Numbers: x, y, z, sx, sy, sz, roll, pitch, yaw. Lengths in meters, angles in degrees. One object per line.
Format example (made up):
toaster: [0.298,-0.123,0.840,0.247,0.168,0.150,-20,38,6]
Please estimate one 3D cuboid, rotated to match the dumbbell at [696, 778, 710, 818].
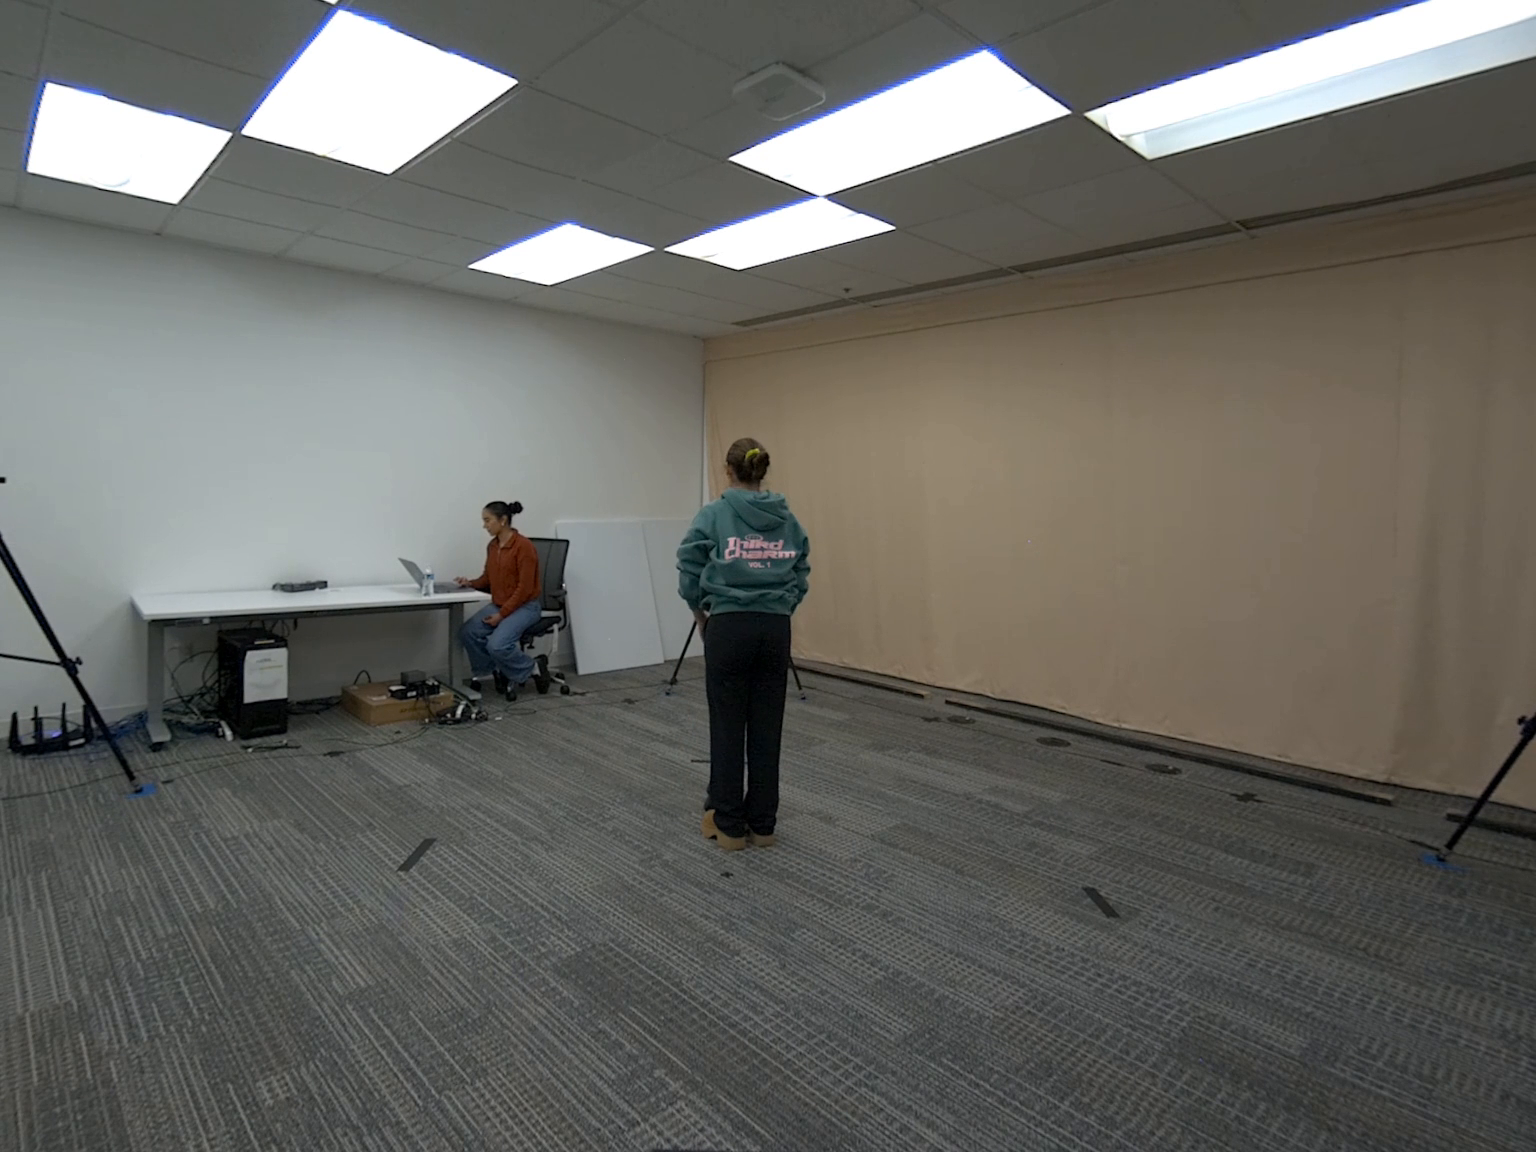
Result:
dumbbell: [-0.237,0.997,3.767,0.109,0.122,0.294,-28,5,1]
